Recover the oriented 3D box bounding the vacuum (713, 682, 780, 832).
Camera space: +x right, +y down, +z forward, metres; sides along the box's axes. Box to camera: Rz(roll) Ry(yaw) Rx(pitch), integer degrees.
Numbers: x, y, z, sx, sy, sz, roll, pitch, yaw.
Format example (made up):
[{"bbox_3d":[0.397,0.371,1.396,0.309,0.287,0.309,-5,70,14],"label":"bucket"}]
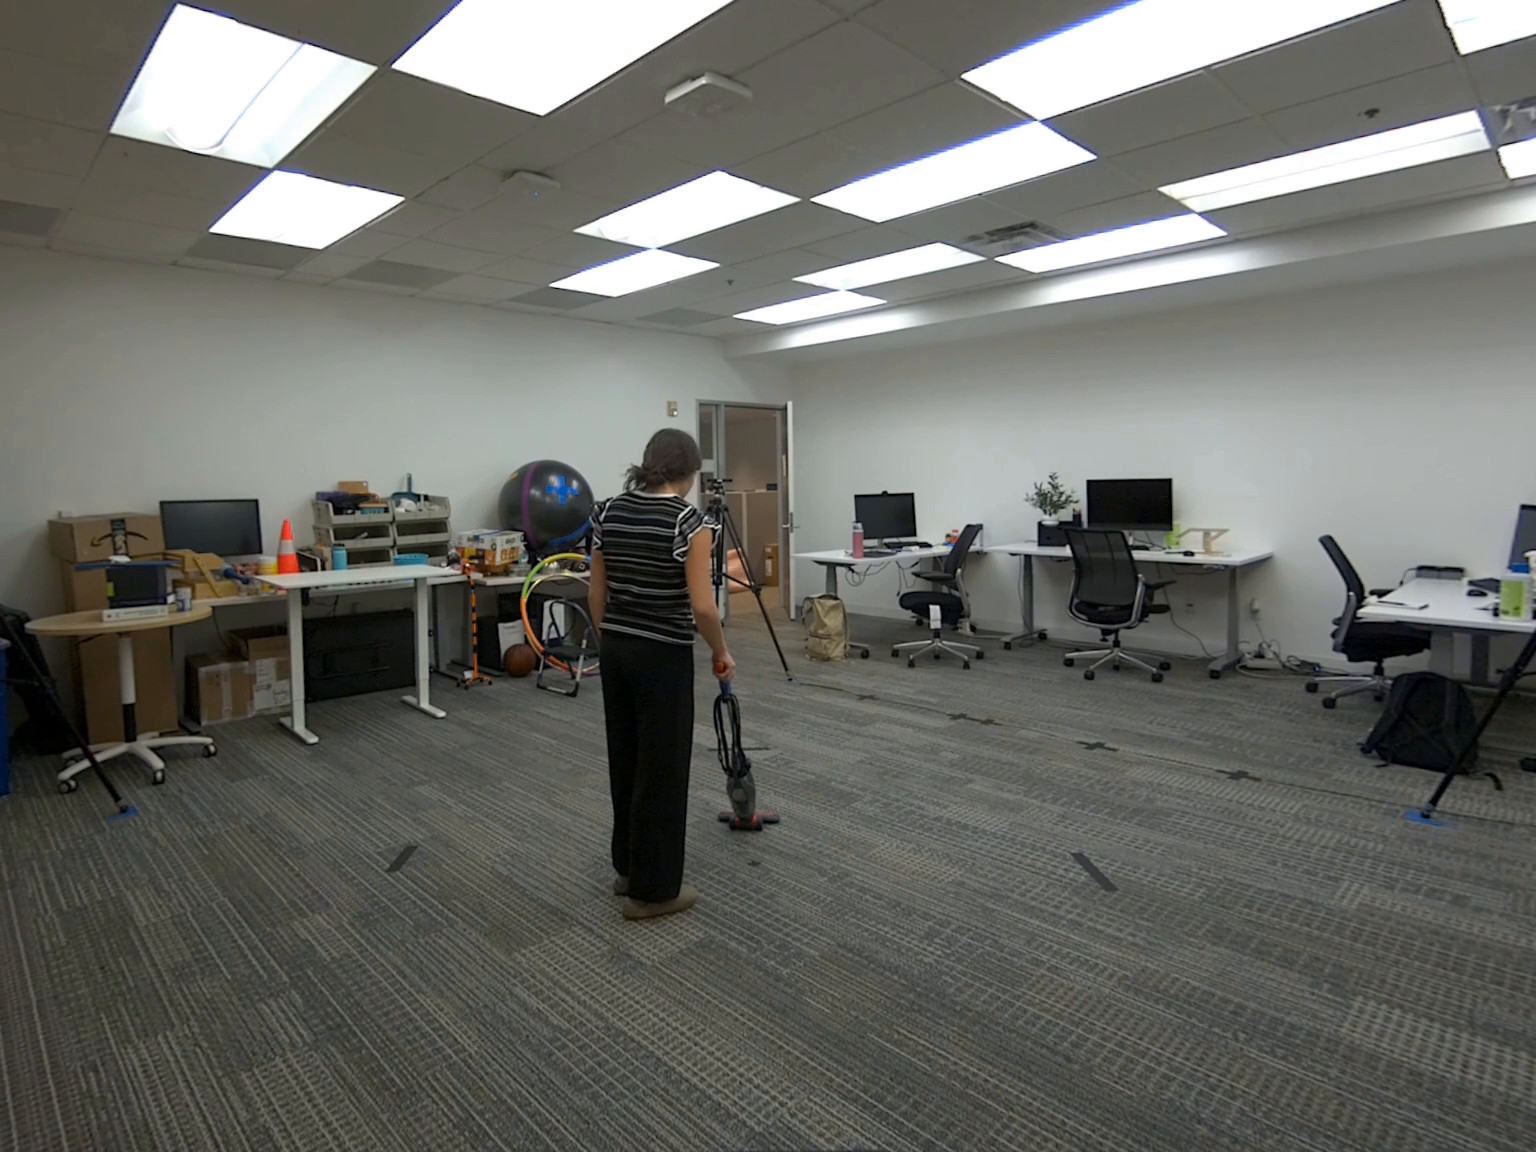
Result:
[{"bbox_3d":[-0.121,0.641,3.104,0.255,1.017,0.147,4,47,10],"label":"vacuum"}]
